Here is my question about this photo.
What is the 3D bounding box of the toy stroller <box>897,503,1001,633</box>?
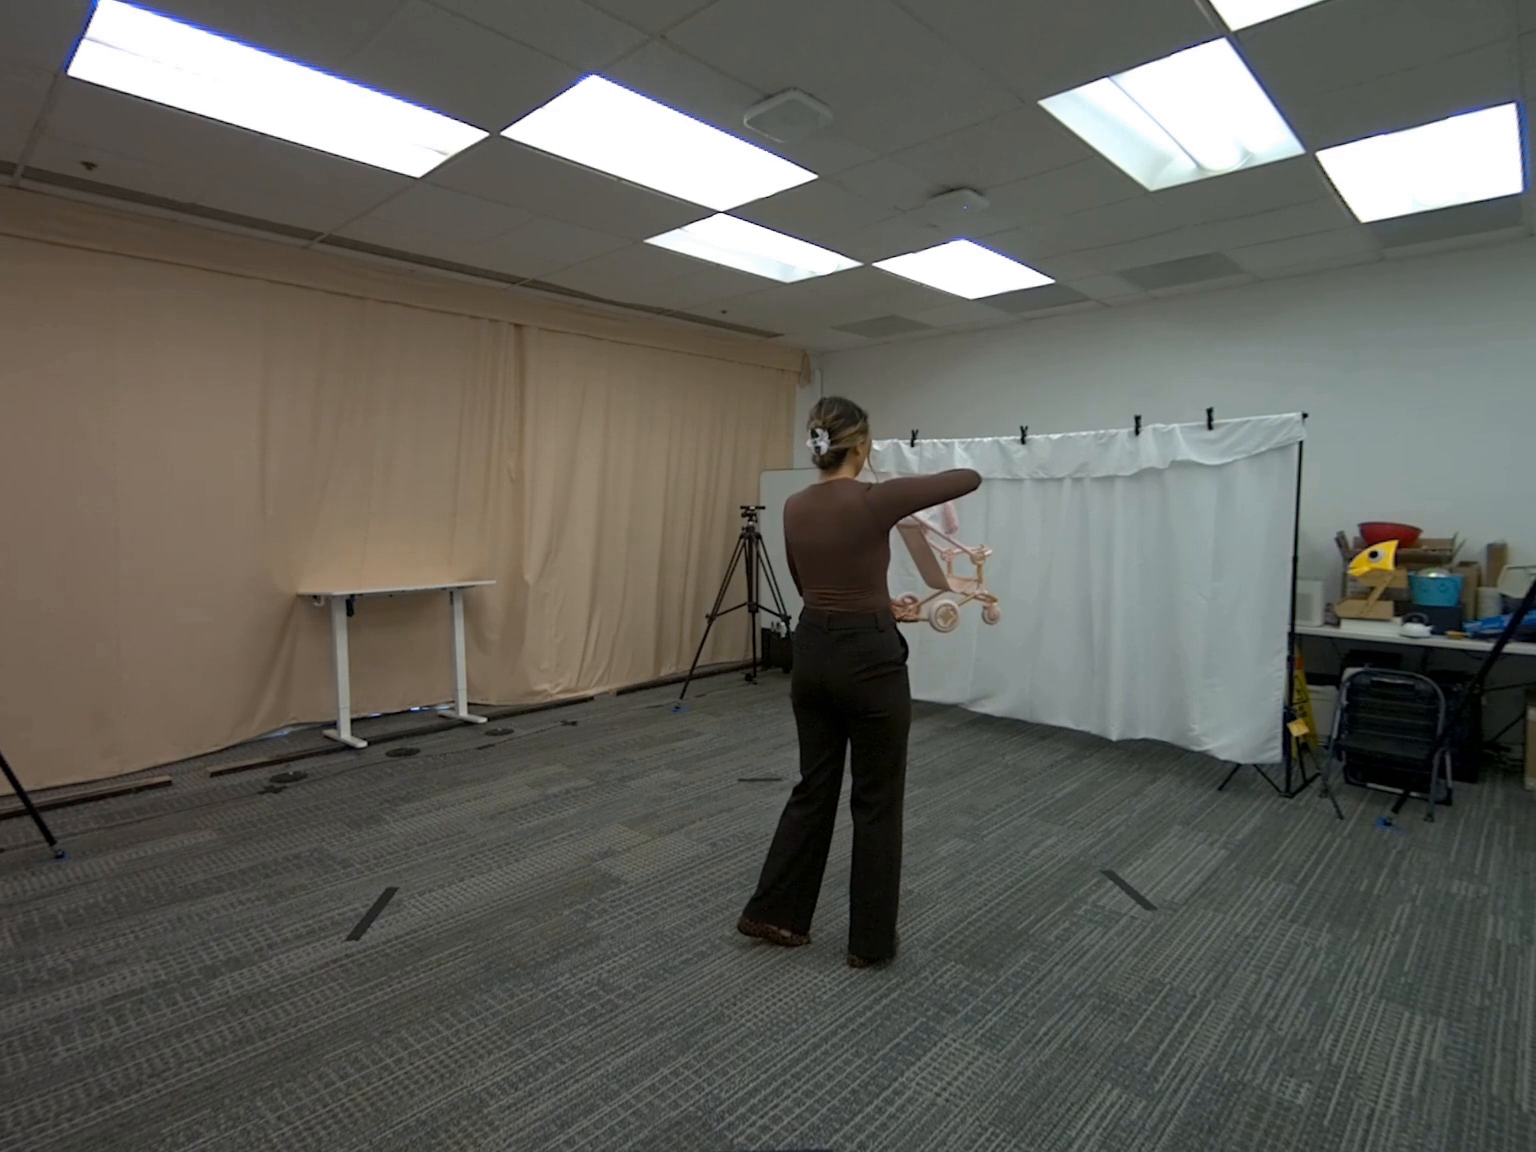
[{"bbox_3d":[0.600,-0.047,2.858,0.338,0.532,0.285,-17,6,-10],"label":"toy stroller"}]
